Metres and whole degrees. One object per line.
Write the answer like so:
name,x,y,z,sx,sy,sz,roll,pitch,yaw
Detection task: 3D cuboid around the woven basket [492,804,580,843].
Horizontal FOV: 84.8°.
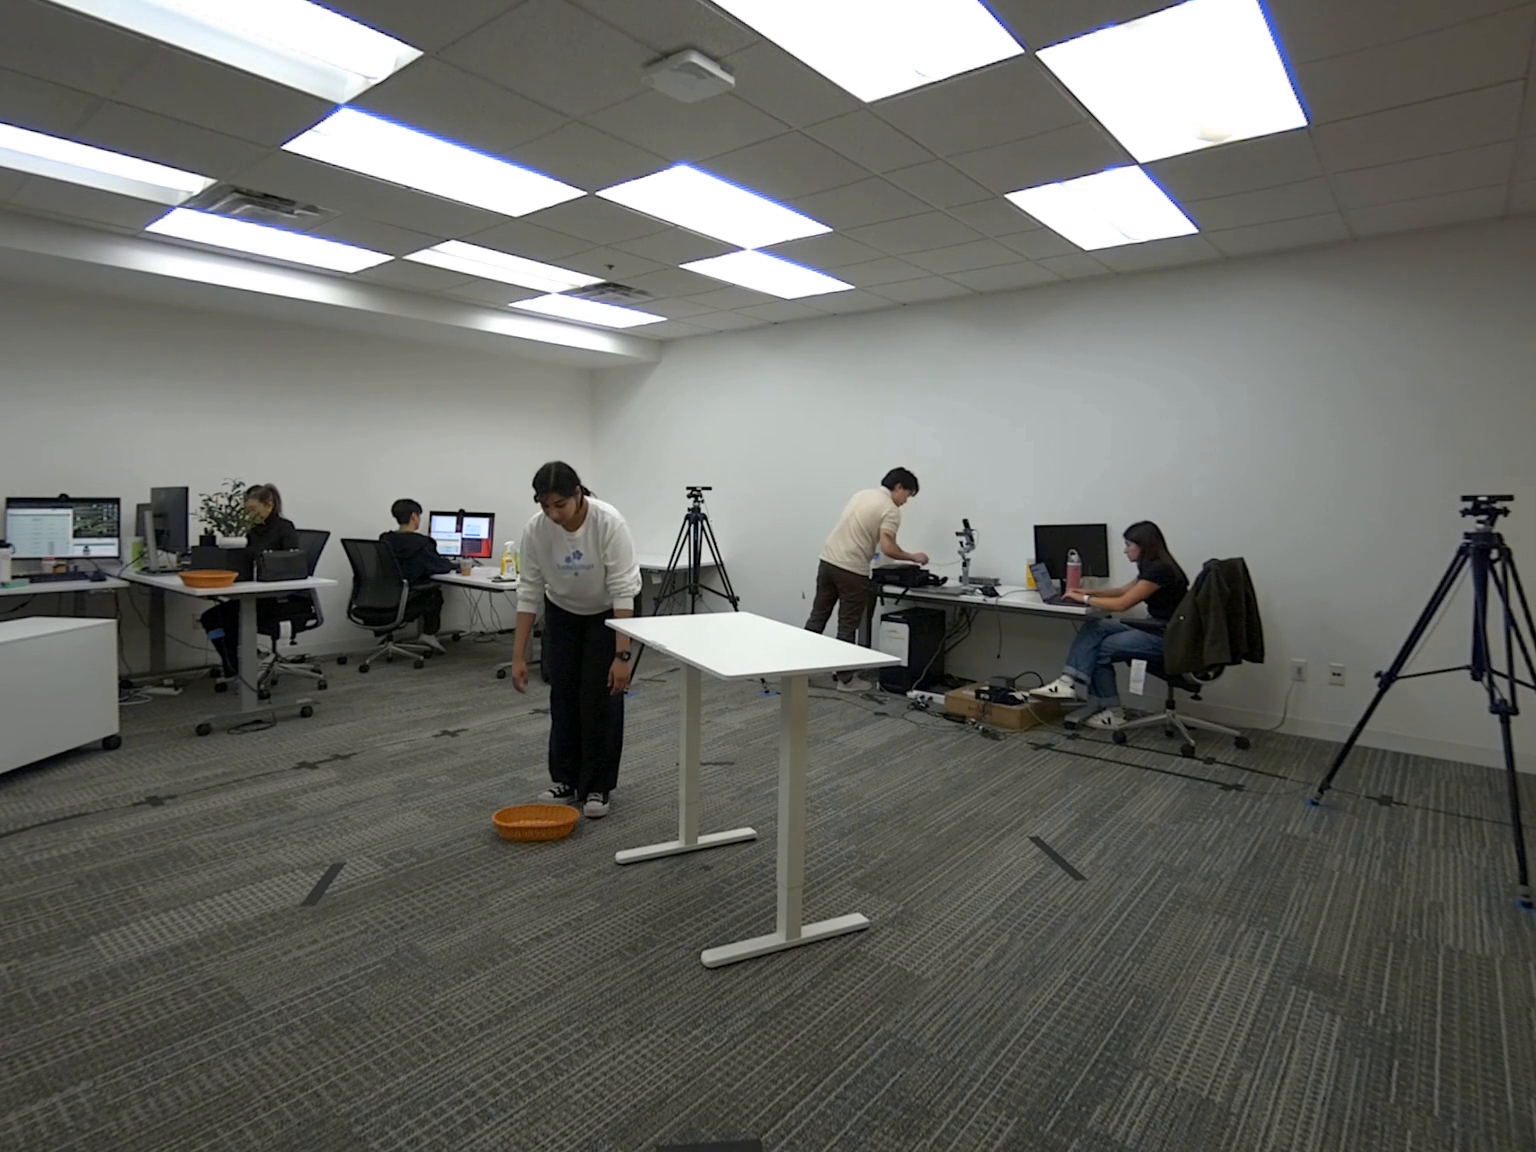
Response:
woven basket,-0.939,0.986,3.412,0.350,0.073,0.253,0,4,-1
